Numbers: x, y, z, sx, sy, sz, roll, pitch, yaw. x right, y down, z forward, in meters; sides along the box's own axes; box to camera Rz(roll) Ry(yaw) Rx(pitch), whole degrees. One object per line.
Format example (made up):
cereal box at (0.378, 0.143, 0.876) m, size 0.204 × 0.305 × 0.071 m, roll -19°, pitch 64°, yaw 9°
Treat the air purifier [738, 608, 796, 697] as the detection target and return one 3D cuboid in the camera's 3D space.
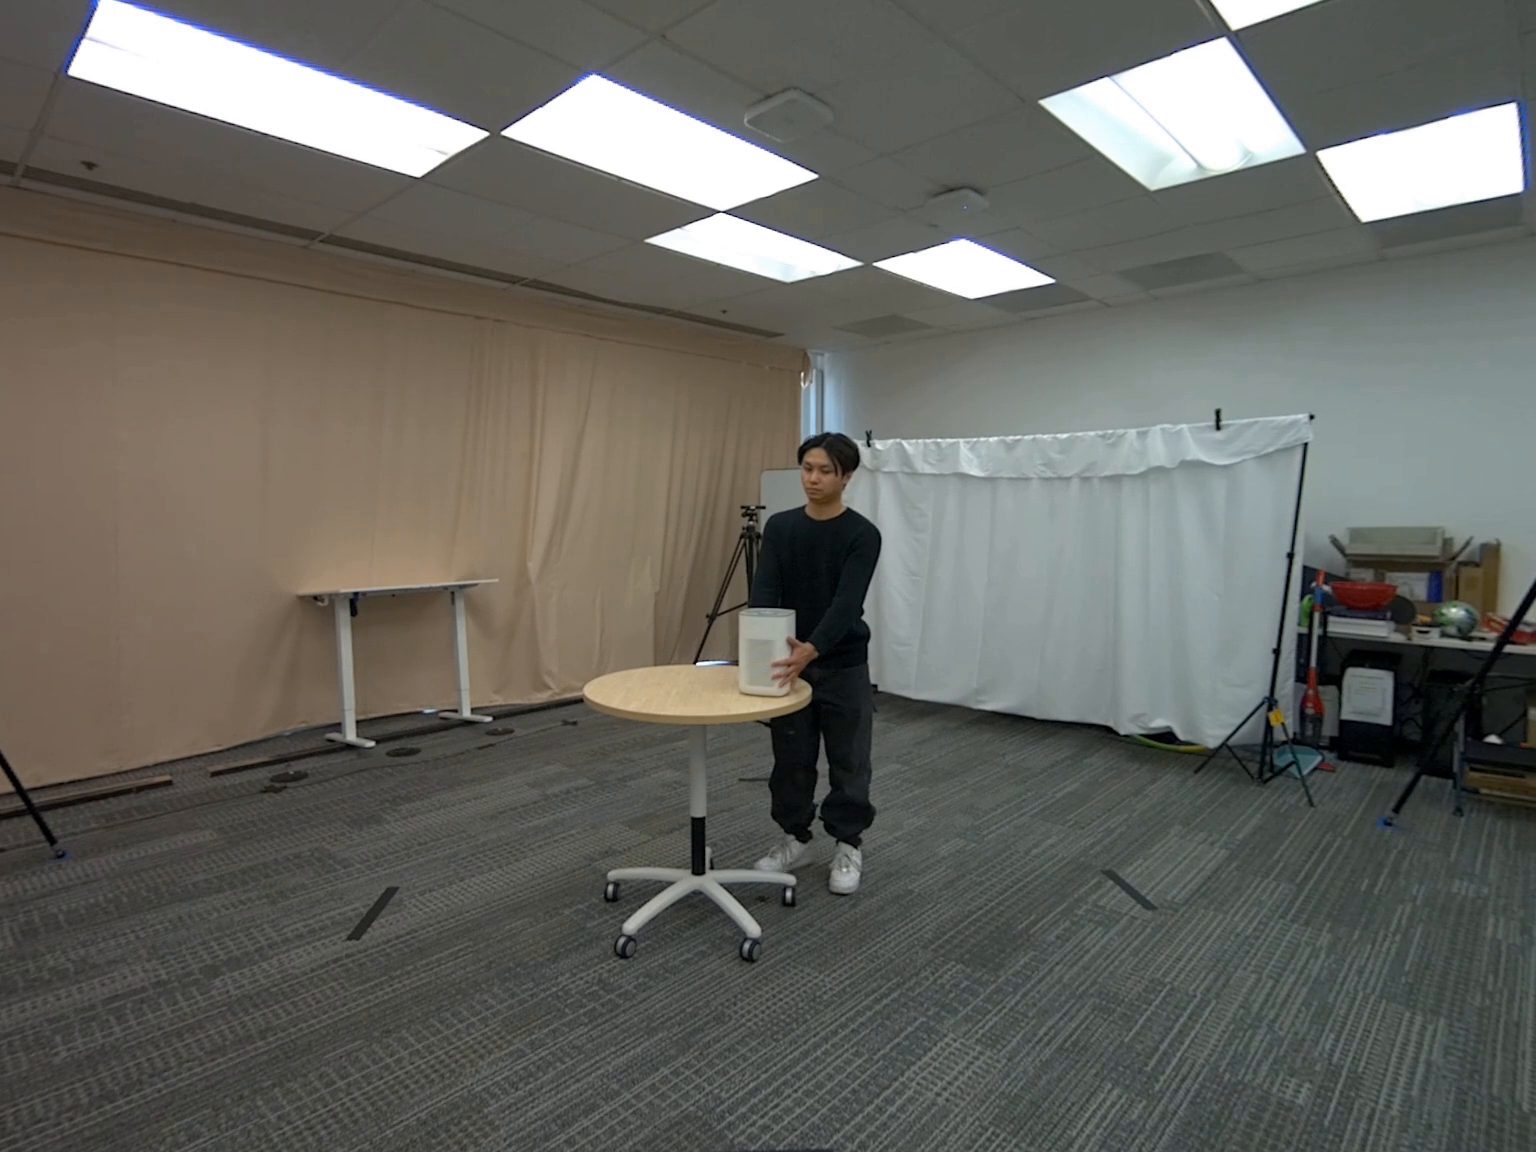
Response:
air purifier at (-0.006, 0.249, 2.757) m, size 0.173 × 0.265 × 0.170 m, roll 1°, pitch 3°, yaw 8°
